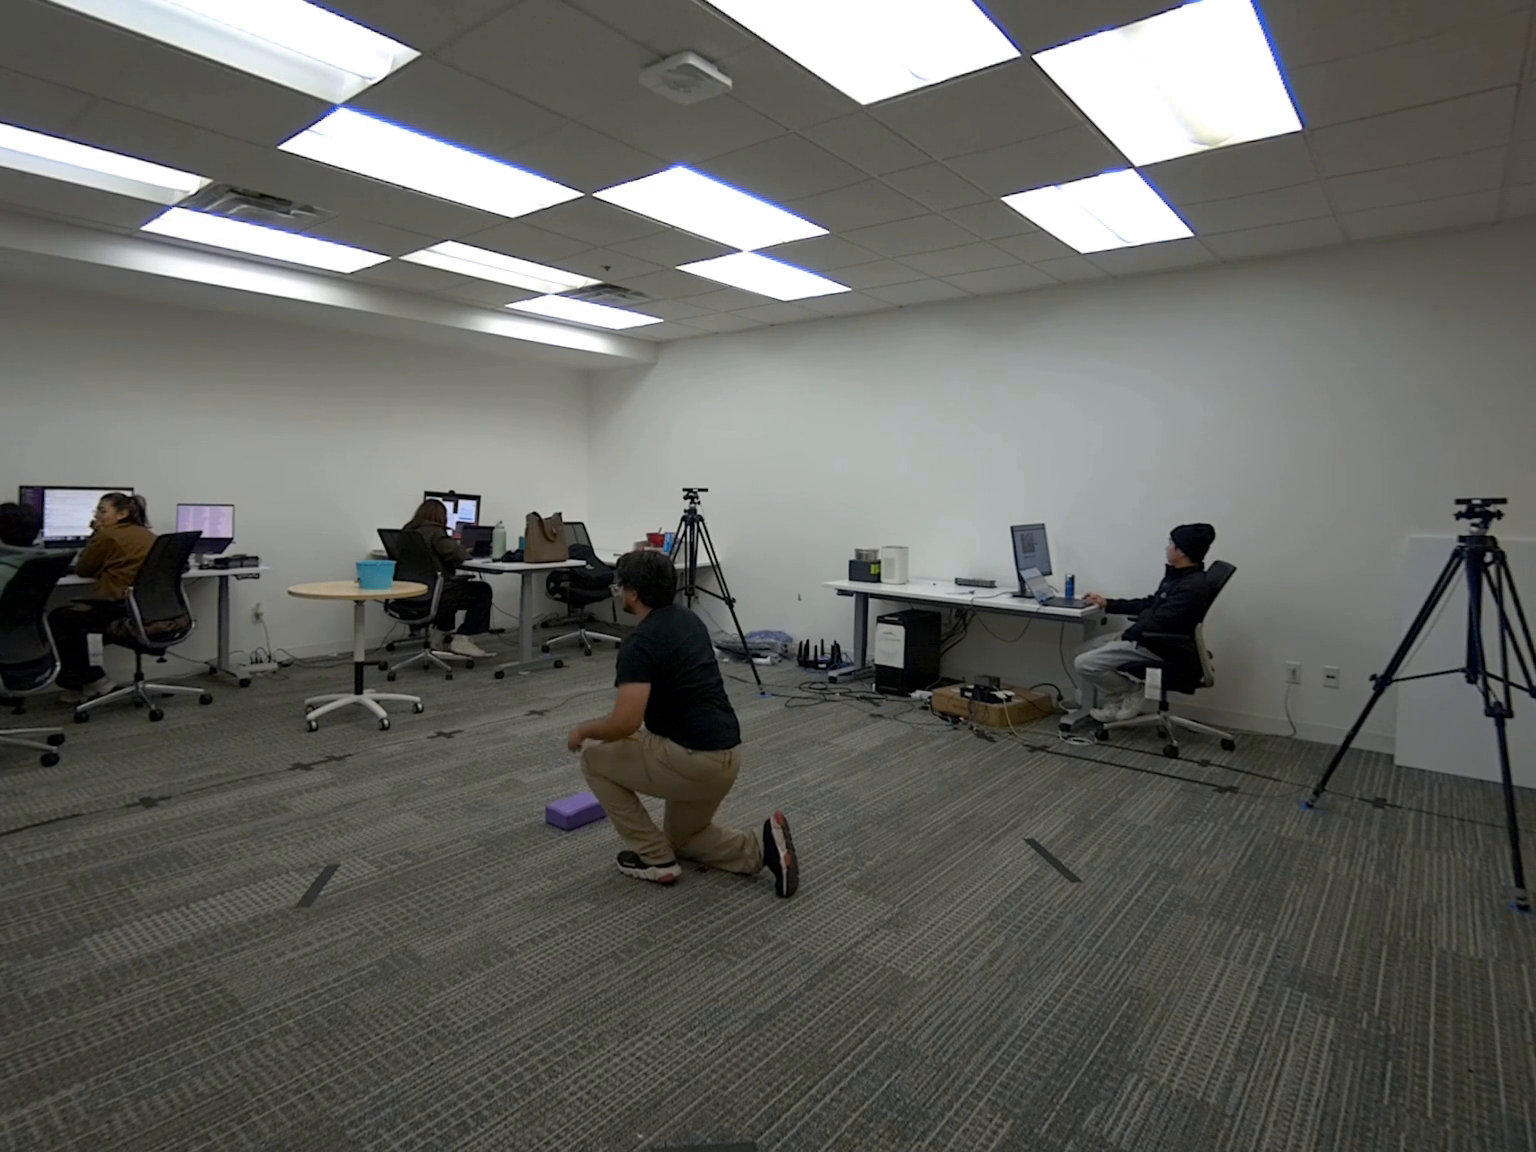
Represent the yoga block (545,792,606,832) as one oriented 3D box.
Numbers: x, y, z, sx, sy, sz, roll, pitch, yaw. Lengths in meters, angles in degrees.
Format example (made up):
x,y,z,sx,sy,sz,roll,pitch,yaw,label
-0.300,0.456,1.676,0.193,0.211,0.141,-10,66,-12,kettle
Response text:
x,y,z,sx,sy,sz,roll,pitch,yaw,label
-0.813,0.978,3.559,0.154,0.076,0.223,6,7,37,yoga block
